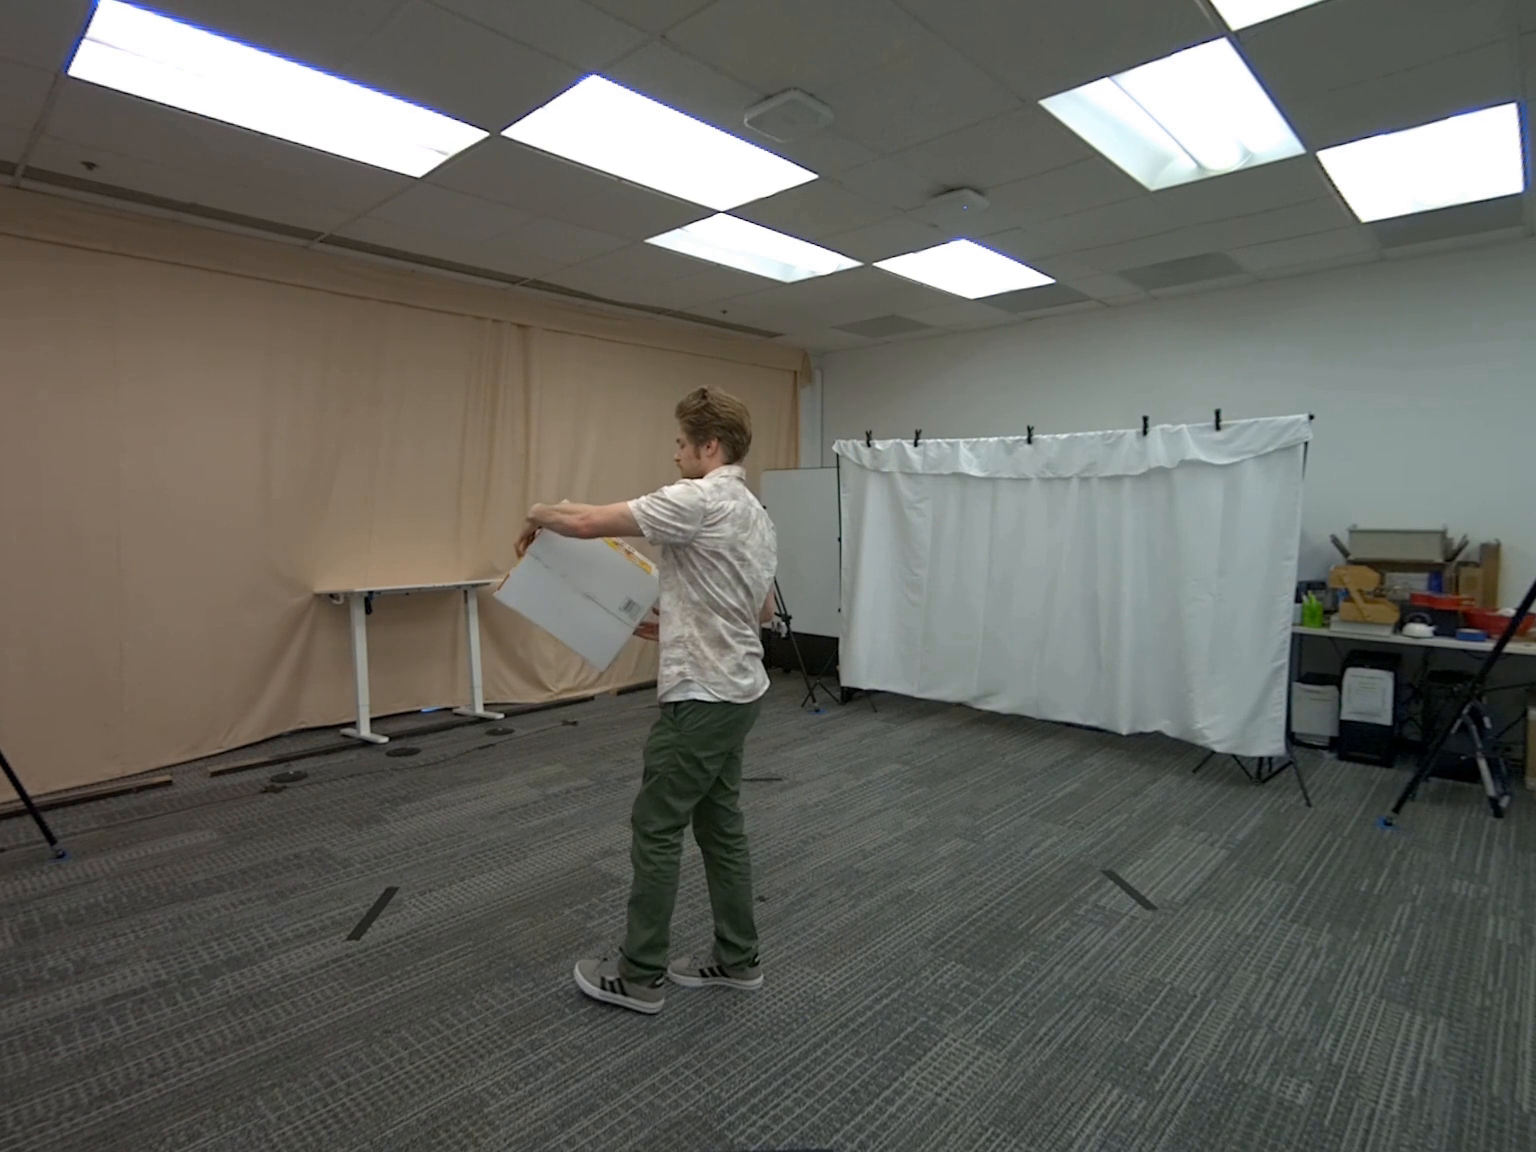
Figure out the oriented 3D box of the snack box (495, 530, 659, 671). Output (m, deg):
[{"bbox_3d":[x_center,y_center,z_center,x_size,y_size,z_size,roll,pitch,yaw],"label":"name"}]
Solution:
[{"bbox_3d":[-0.564,0.033,2.603,0.401,0.340,0.208,36,3,-8],"label":"snack box"}]
